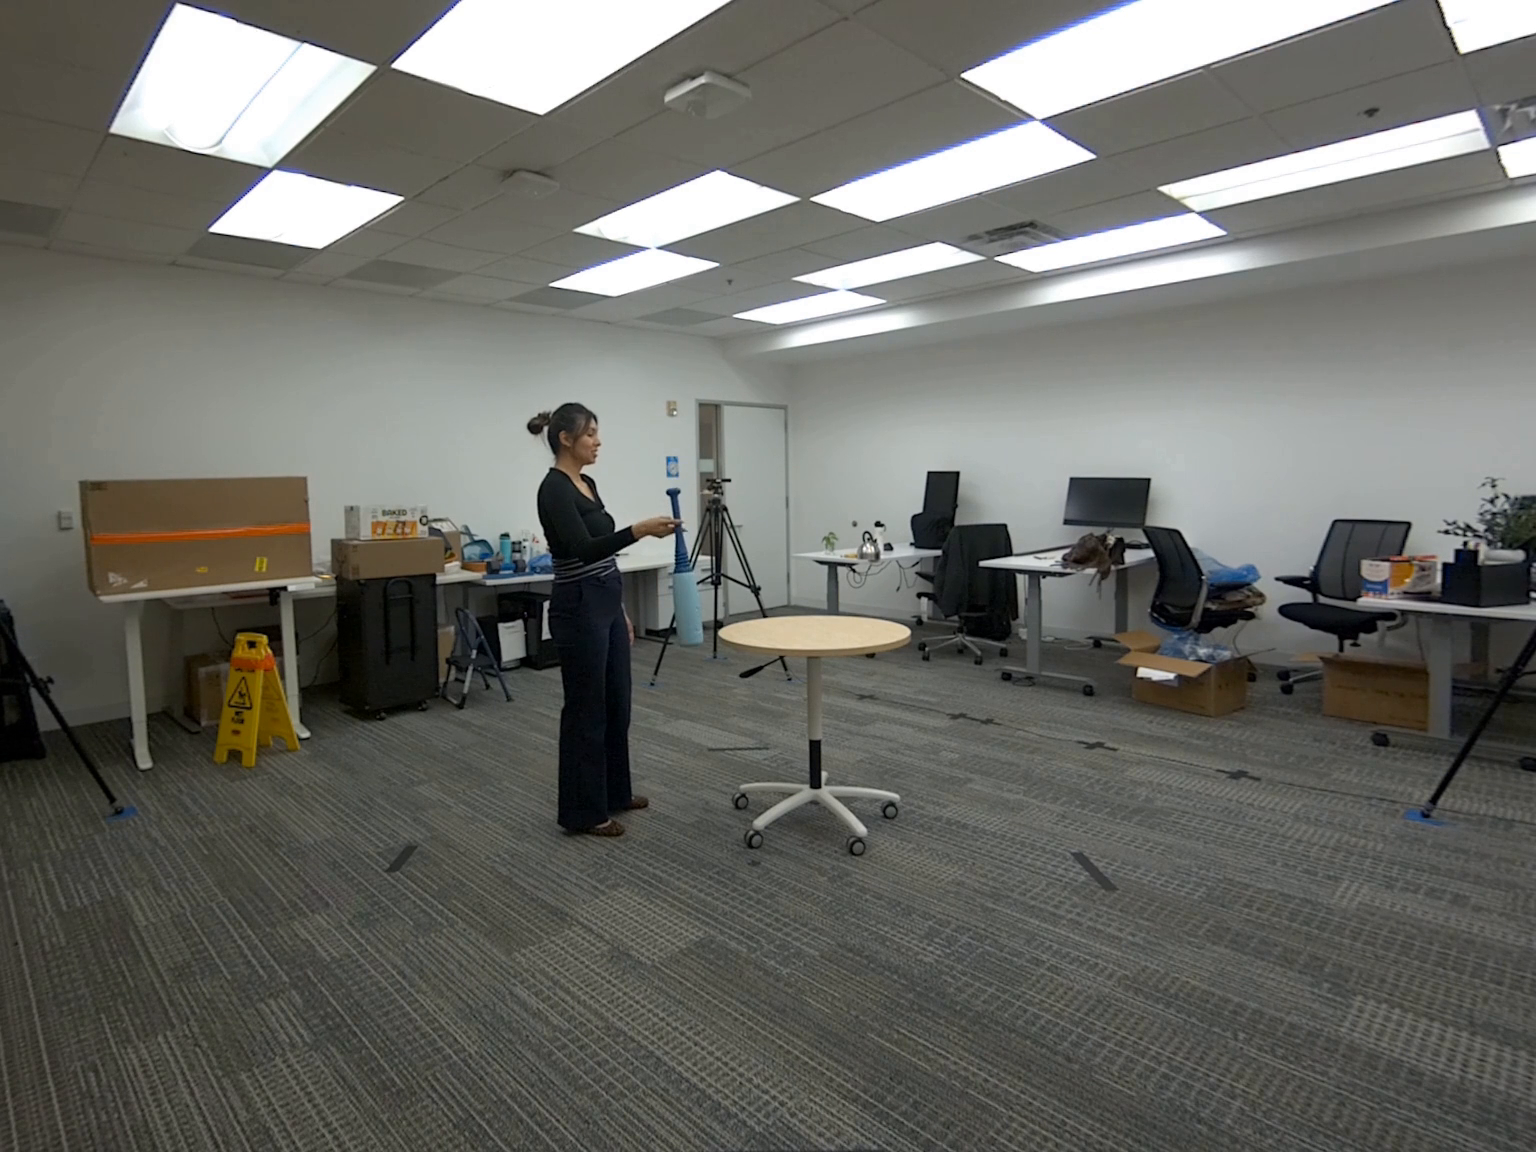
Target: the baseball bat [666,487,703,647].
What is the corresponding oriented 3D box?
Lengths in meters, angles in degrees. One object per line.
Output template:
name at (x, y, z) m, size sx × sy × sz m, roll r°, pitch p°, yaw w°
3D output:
baseball bat at (-0.290, -0.036, 2.911) m, size 0.089 × 0.546 × 0.089 m, roll -7°, pitch -5°, yaw -2°
